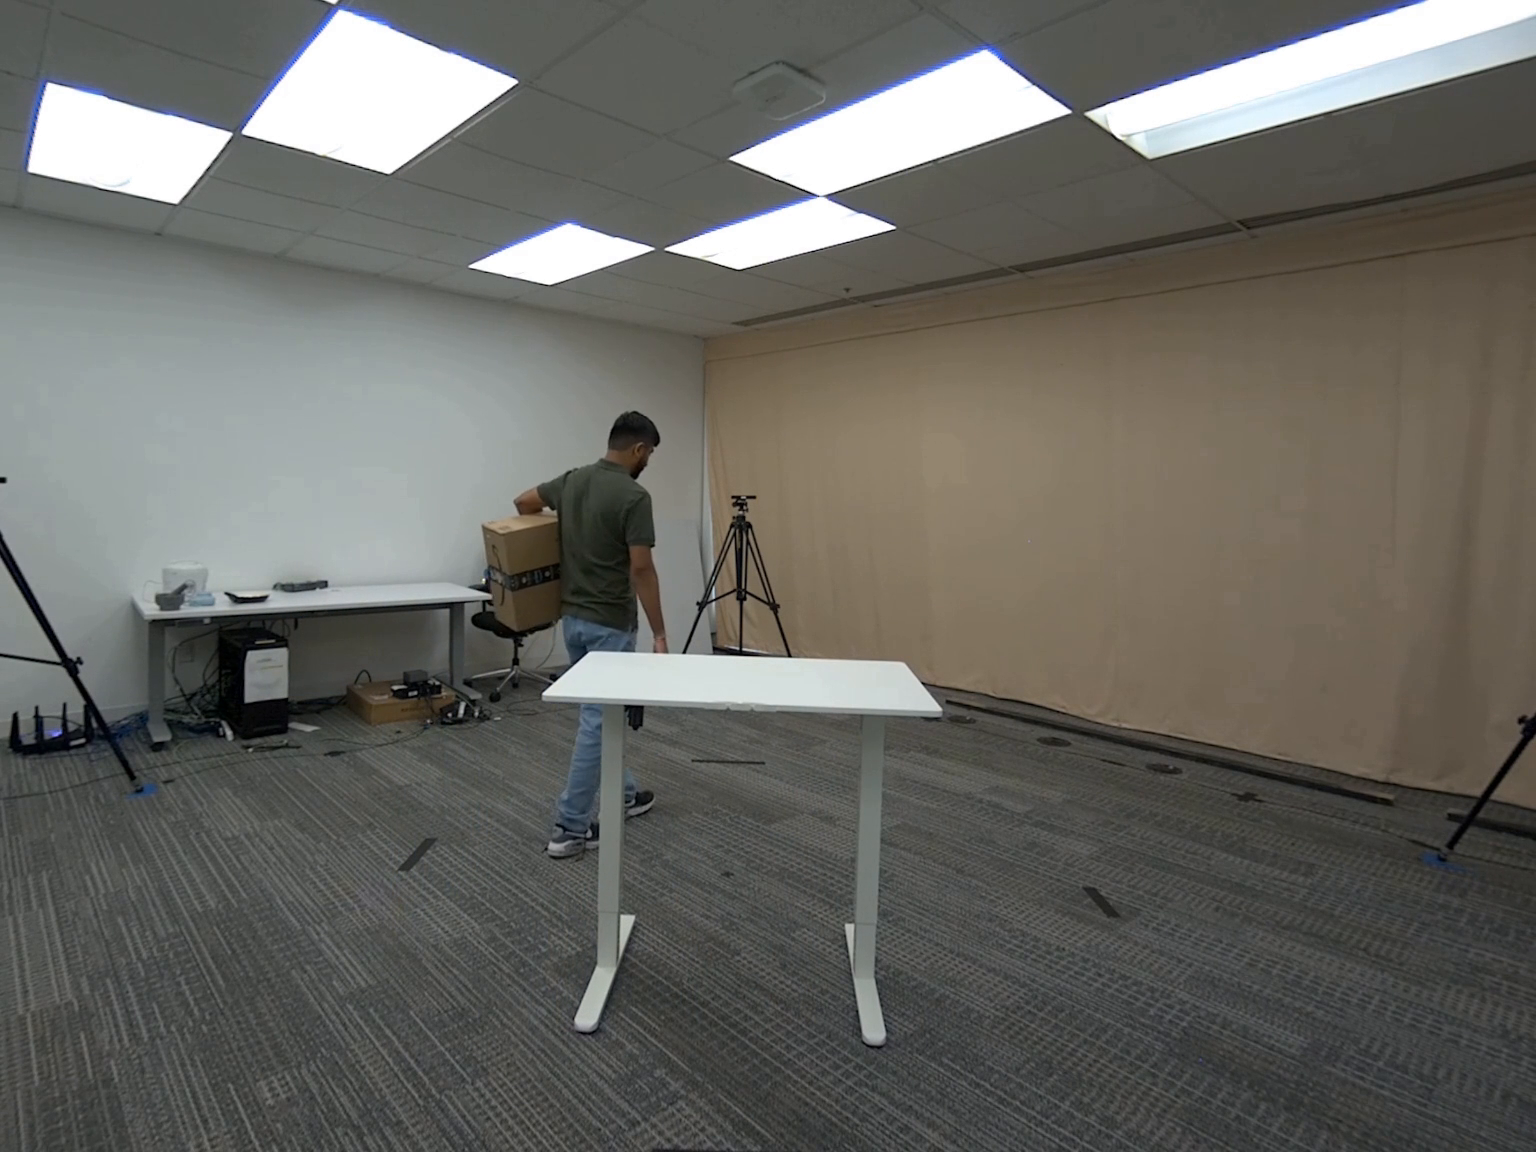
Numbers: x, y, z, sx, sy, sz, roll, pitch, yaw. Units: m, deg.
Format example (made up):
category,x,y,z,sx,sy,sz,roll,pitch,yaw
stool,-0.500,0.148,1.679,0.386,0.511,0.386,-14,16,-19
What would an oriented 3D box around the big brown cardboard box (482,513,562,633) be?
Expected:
category,x,y,z,sx,sy,sz,roll,pitch,yaw
big brown cardboard box,-0.881,-0.056,3.552,0.579,0.412,0.240,-15,20,-36
